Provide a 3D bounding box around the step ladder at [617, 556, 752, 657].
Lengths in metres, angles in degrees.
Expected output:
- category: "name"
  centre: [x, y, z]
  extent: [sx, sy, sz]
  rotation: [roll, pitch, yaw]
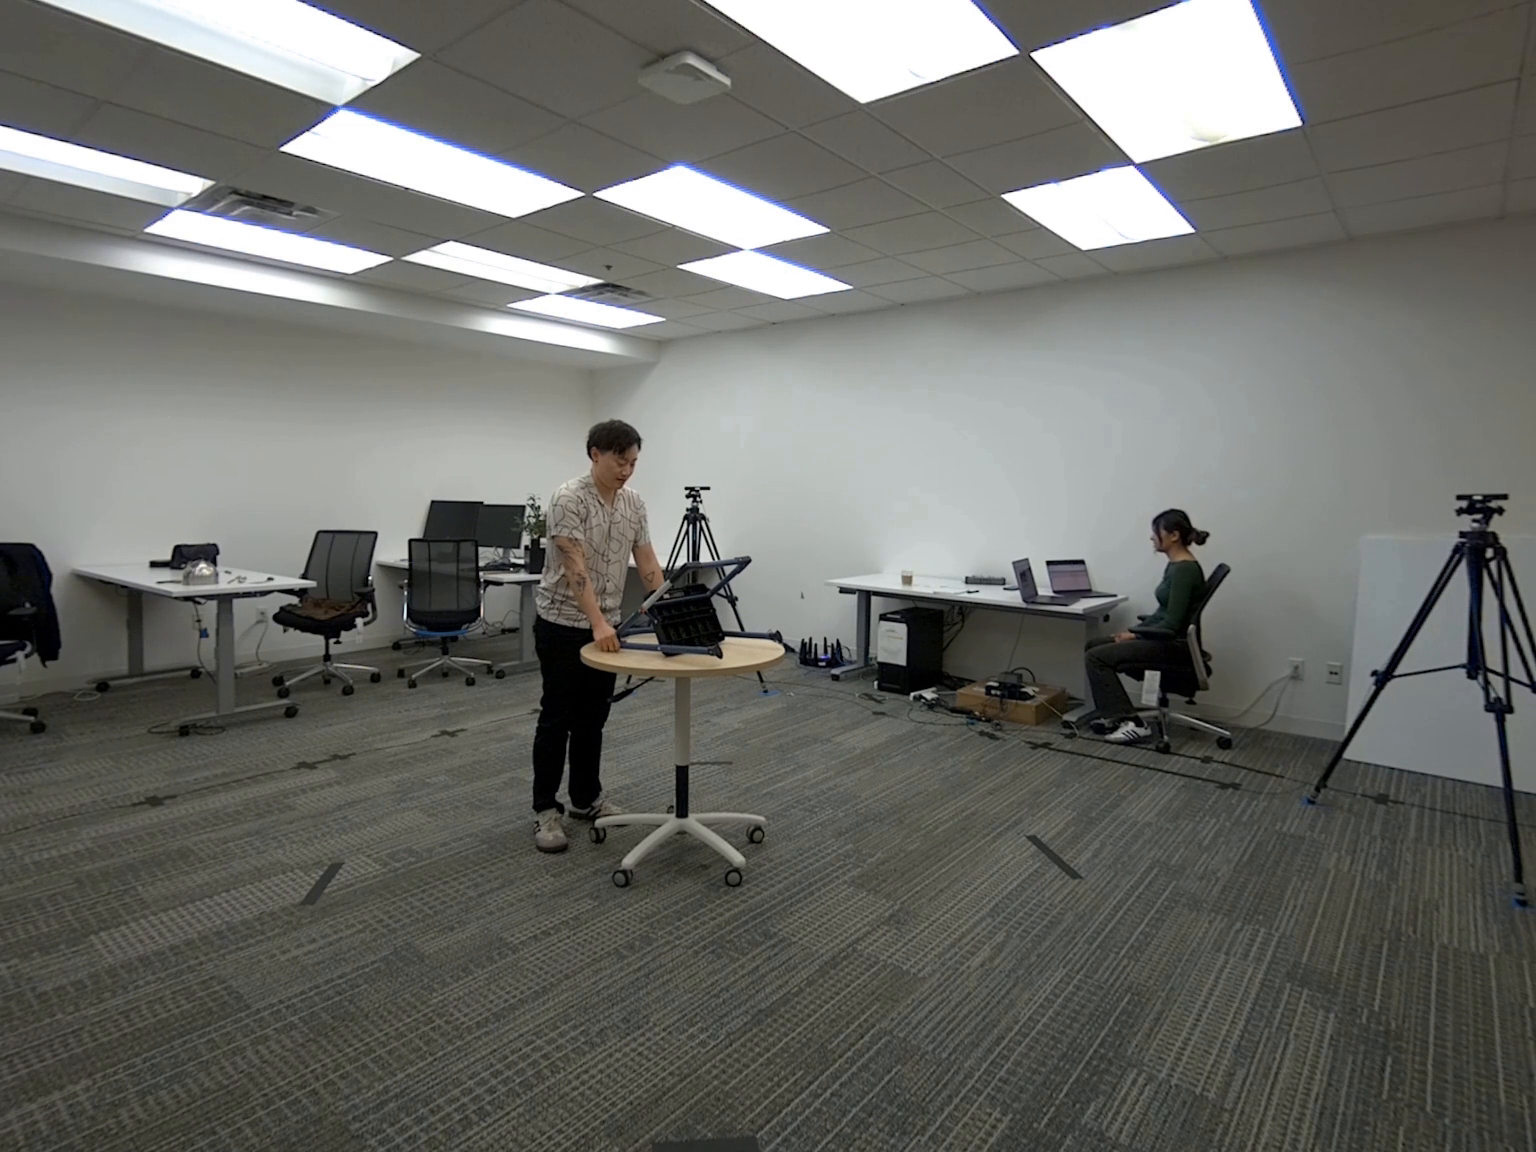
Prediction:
- category: "step ladder"
  centre: [-0.360, 0.203, 3.219]
  extent: [0.615, 0.354, 0.419]
  rotation: [-25, -11, 32]
